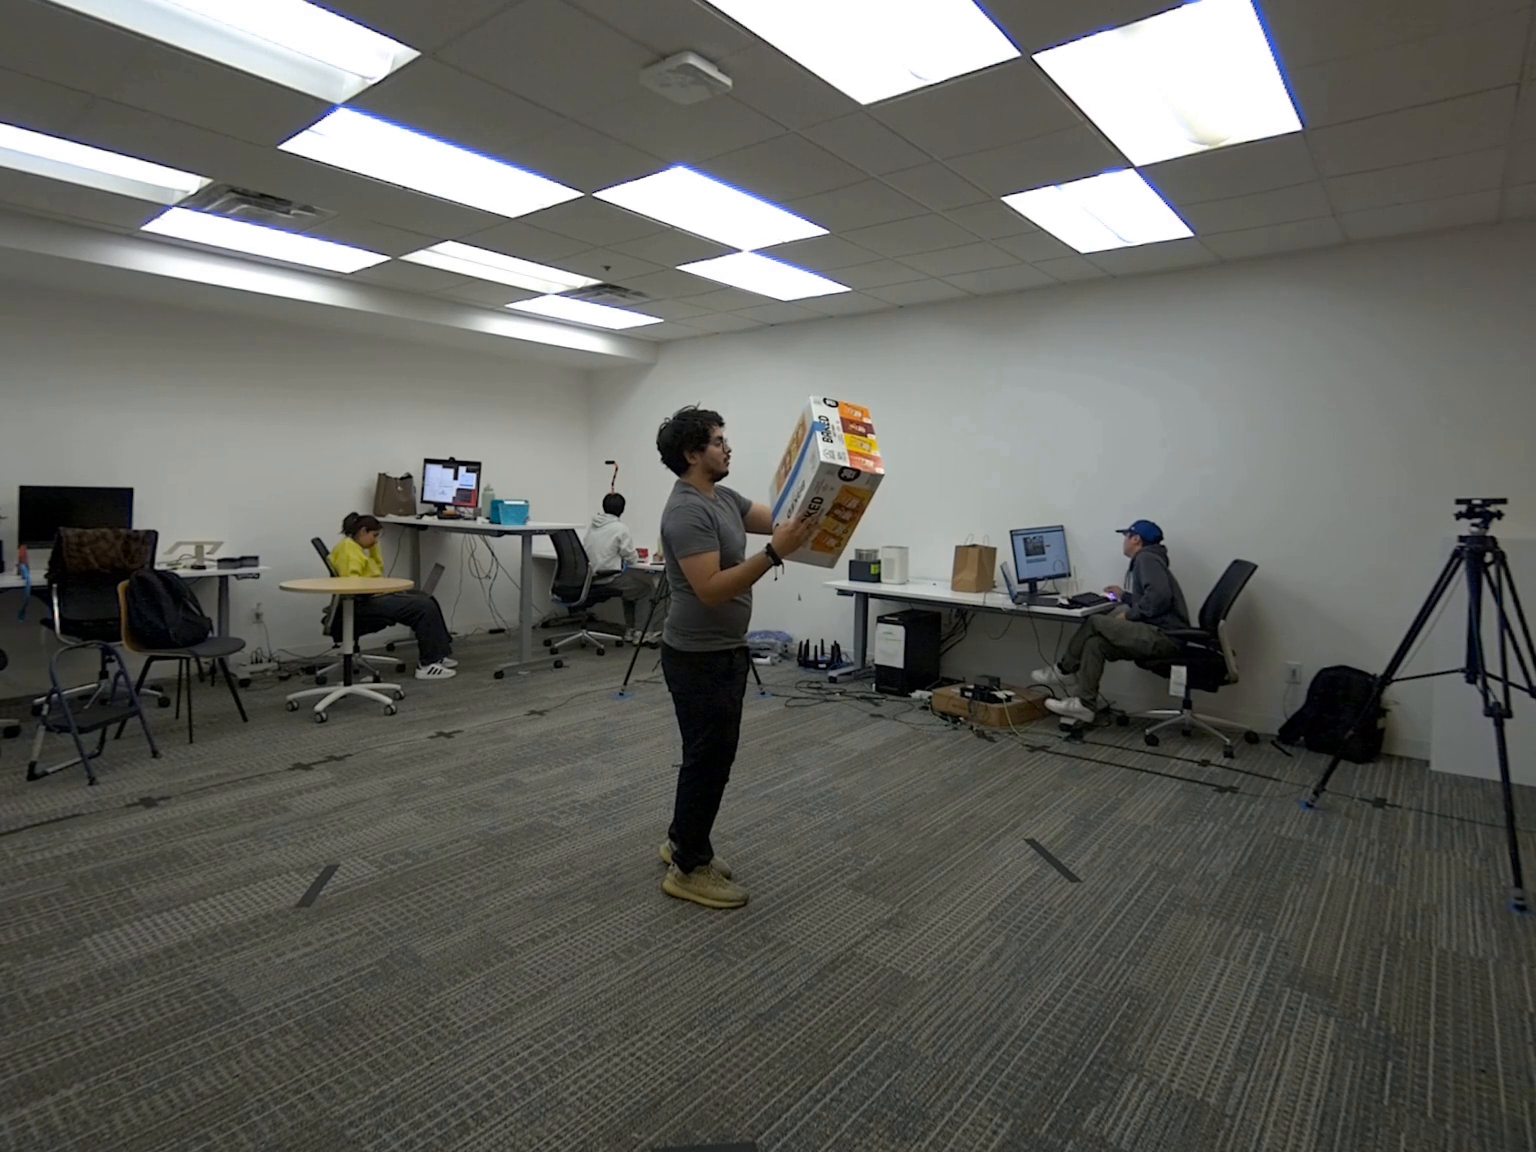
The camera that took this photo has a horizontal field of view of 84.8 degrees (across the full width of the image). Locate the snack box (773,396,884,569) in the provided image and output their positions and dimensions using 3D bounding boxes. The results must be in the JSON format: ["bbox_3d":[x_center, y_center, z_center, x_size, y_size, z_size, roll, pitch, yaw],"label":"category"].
[{"bbox_3d":[0.162,-0.297,2.707,0.202,0.399,0.351,11,43,-15],"label":"snack box"}]
